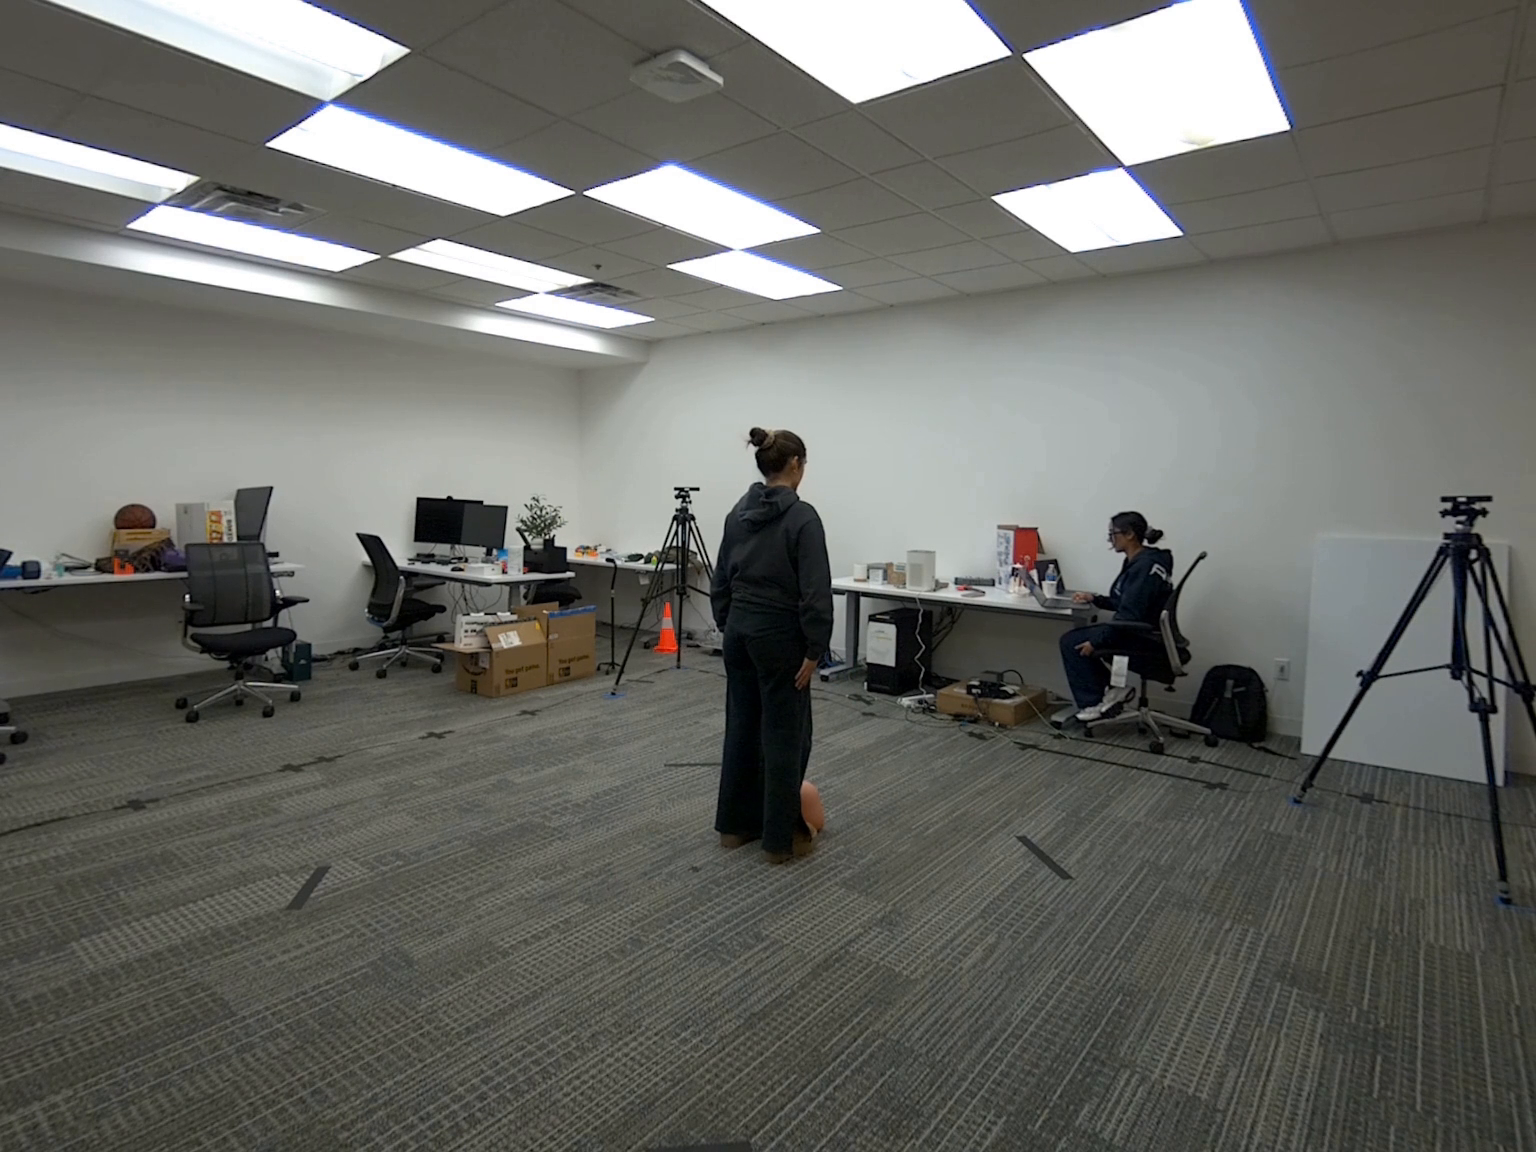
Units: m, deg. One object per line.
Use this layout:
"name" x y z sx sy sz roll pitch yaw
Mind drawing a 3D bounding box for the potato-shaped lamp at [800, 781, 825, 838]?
"potato-shaped lamp" 0.143 0.933 3.483 0.170 0.197 0.167 2 6 36
